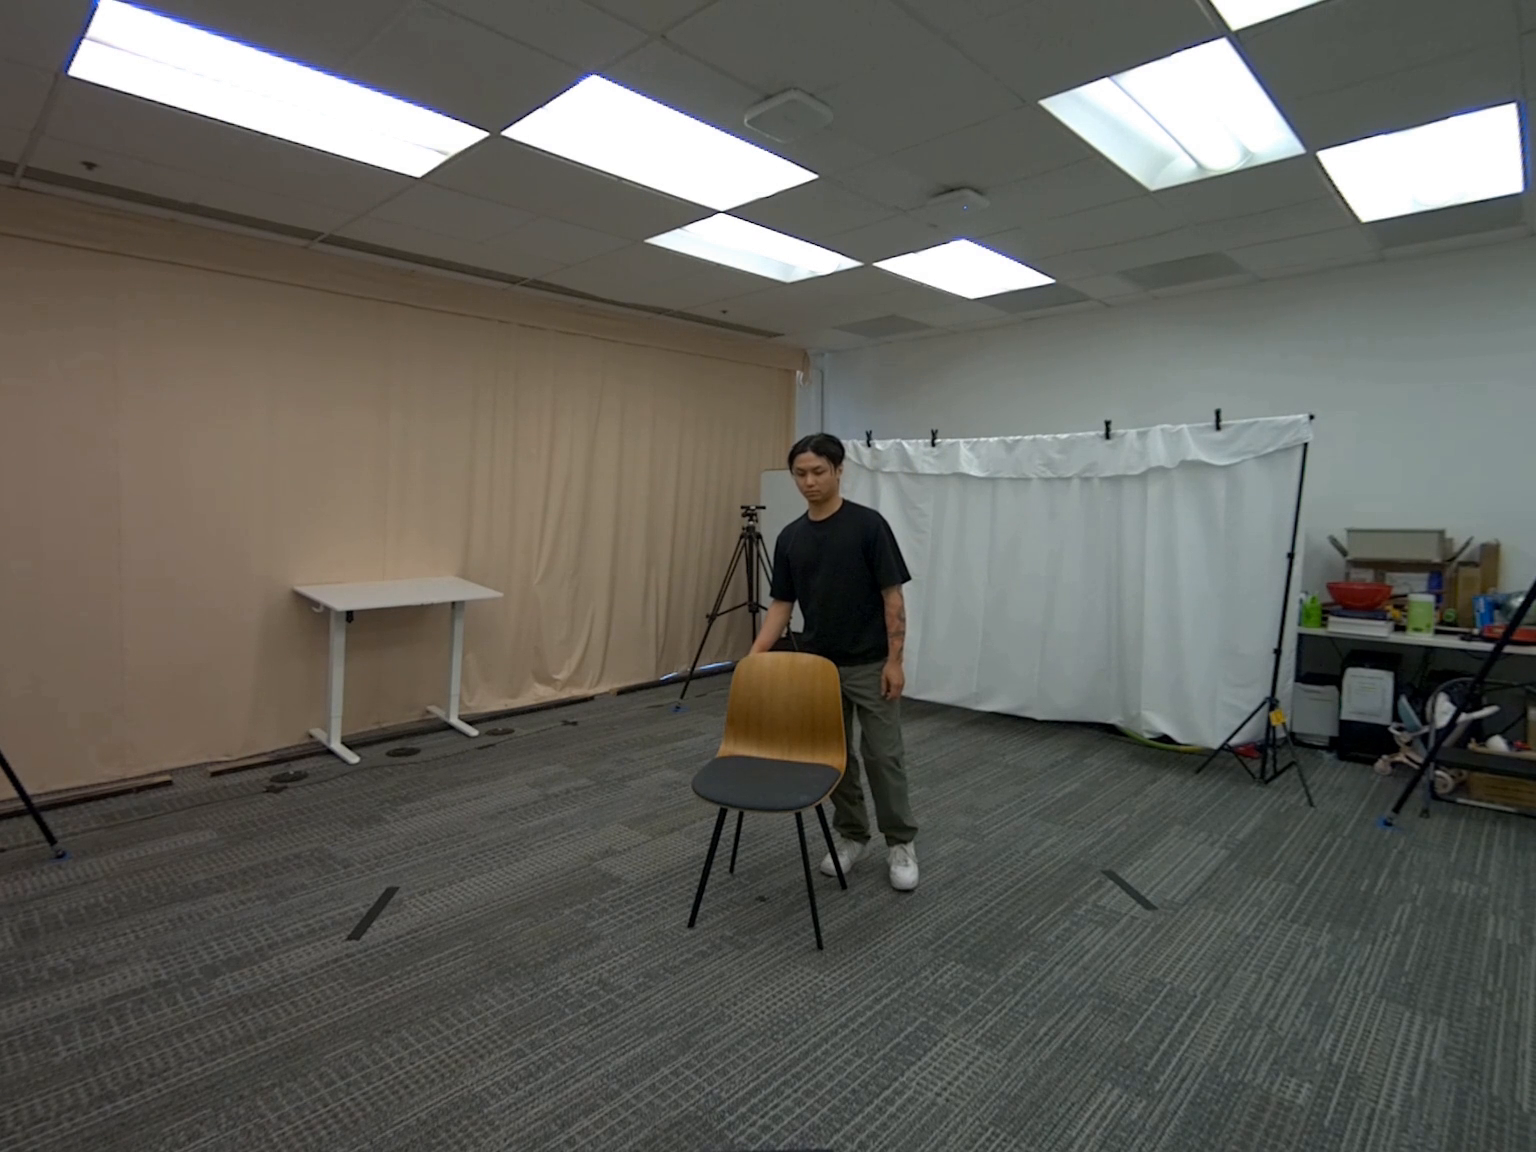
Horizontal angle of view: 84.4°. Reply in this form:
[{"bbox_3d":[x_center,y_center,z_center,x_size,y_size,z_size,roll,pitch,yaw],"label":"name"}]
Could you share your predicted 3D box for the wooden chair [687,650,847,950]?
[{"bbox_3d":[0.014,0.724,2.879,0.488,0.878,0.513,1,-1,18],"label":"wooden chair"}]
